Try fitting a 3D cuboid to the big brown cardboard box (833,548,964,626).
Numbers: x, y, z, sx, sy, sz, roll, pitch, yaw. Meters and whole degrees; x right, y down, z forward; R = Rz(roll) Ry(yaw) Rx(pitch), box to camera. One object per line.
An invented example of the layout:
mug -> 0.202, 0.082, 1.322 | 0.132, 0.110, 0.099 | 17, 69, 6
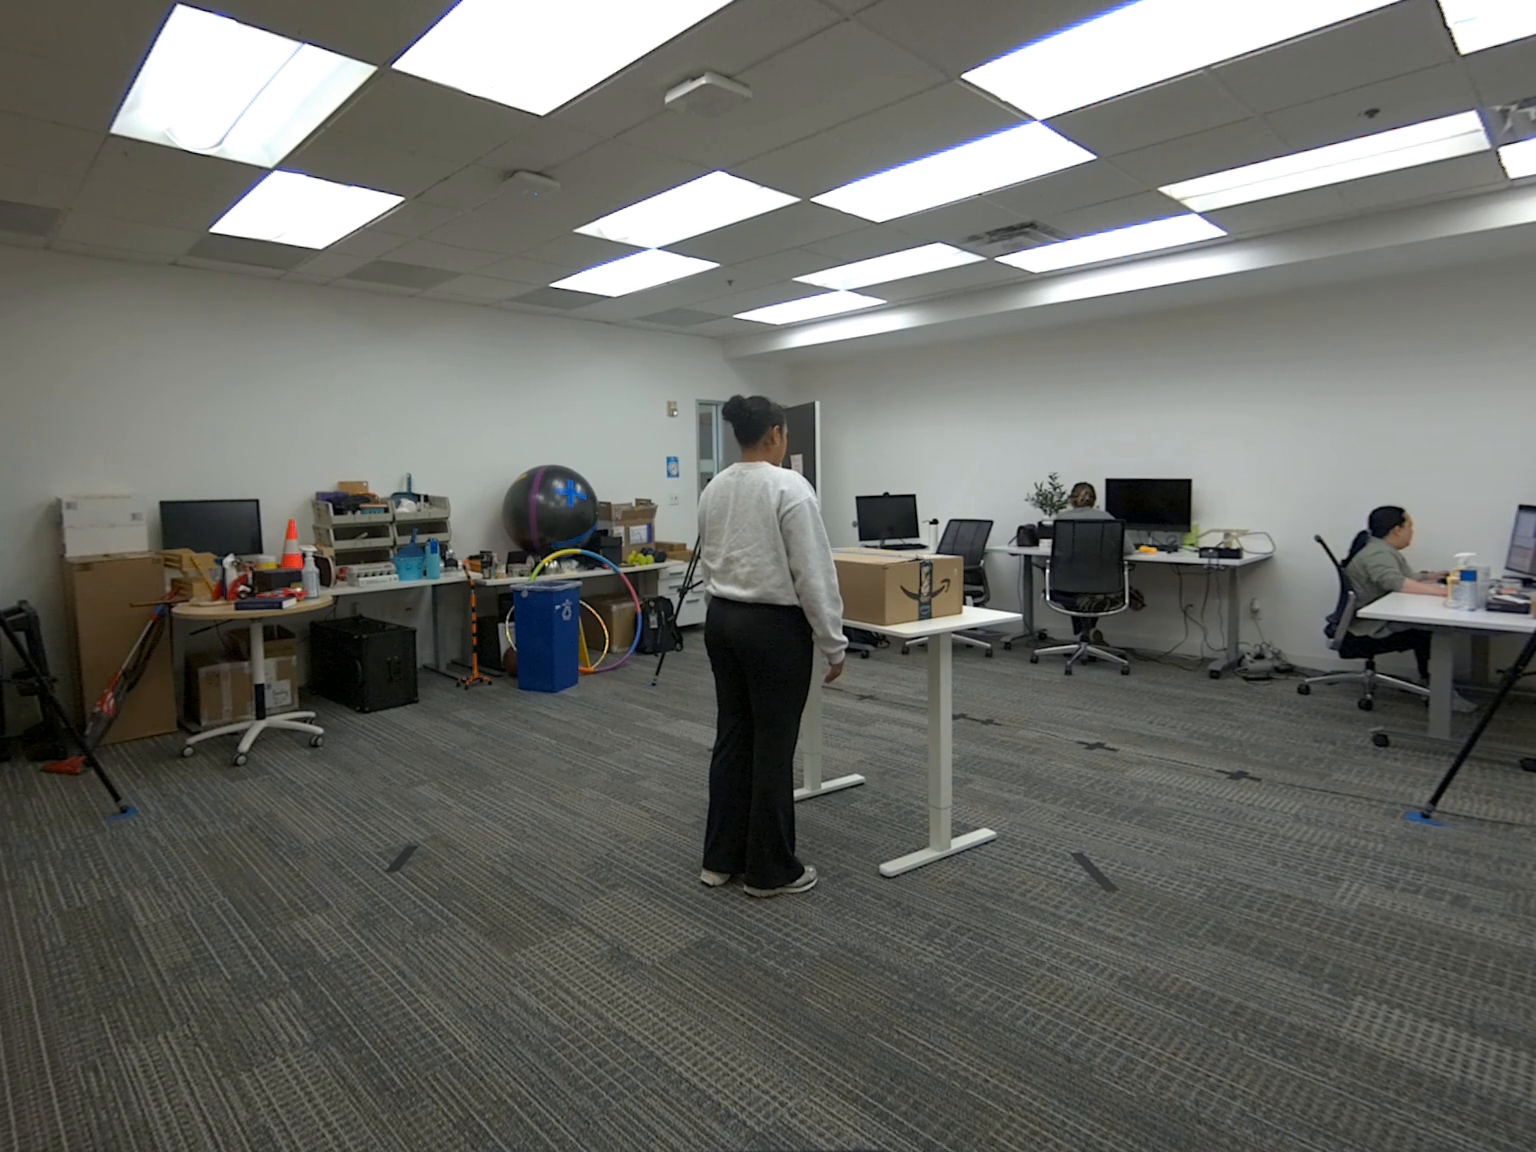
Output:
big brown cardboard box -> 0.385, 0.025, 3.280 | 0.407, 0.232, 0.607 | -6, 7, -37
